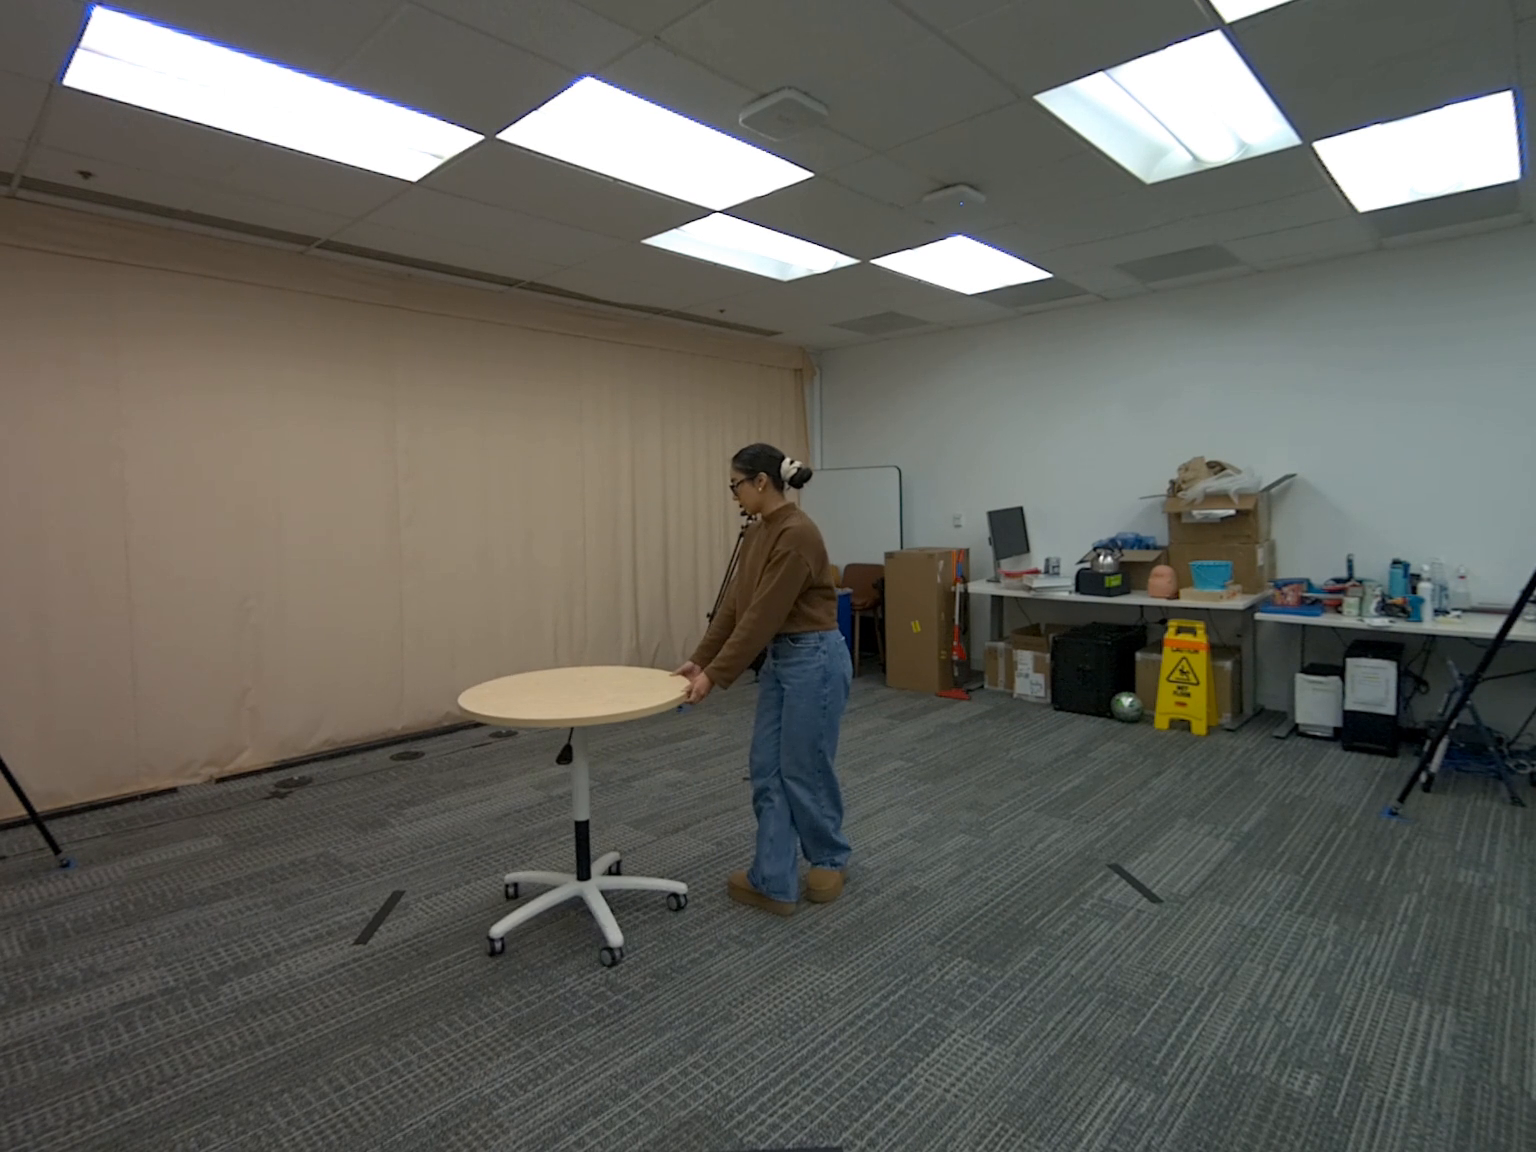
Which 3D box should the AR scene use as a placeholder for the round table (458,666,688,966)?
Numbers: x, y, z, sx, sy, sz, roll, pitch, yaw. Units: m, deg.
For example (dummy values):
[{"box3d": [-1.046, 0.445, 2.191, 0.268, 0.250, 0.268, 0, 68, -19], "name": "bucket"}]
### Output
[{"box3d": [-0.617, 0.770, 2.856, 0.784, 0.784, 0.788, -1, 4, -2], "name": "round table"}]
